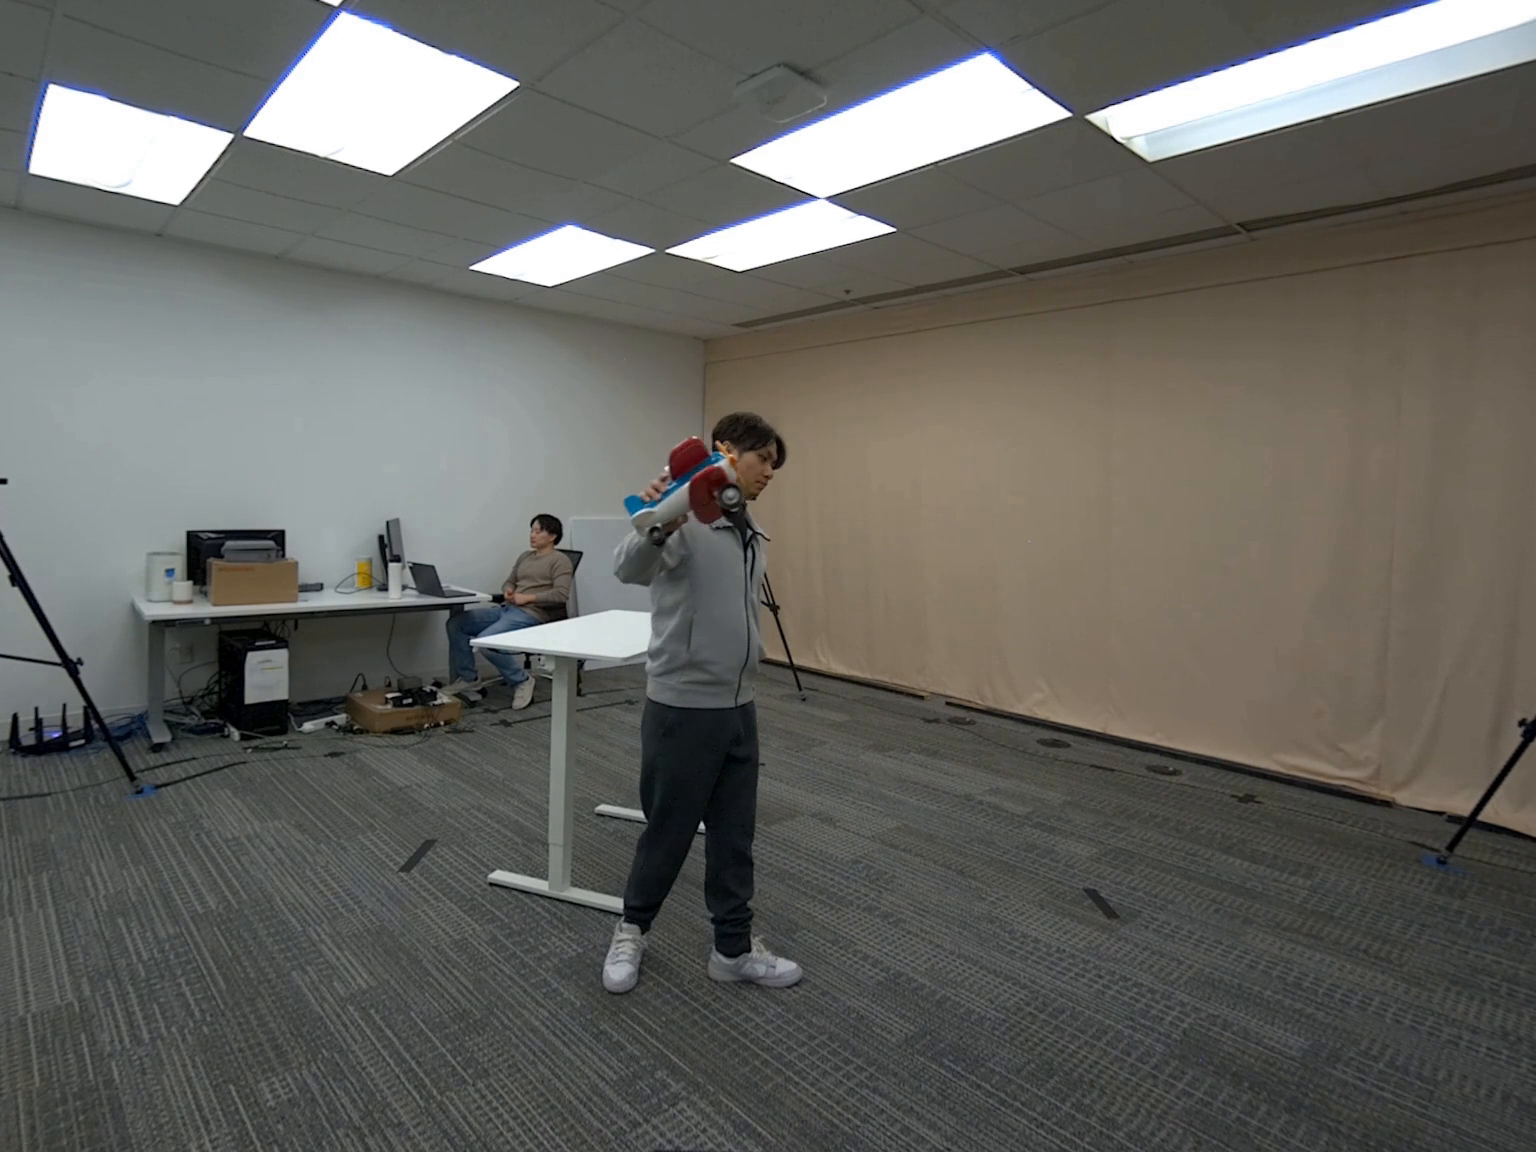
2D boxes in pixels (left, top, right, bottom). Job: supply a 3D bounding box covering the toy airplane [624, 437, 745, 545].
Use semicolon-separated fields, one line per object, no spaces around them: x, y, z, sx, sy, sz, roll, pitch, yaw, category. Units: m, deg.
-0.185;-0.174;1.778;0.255;0.159;0.250;-12;-21;-28;toy airplane
